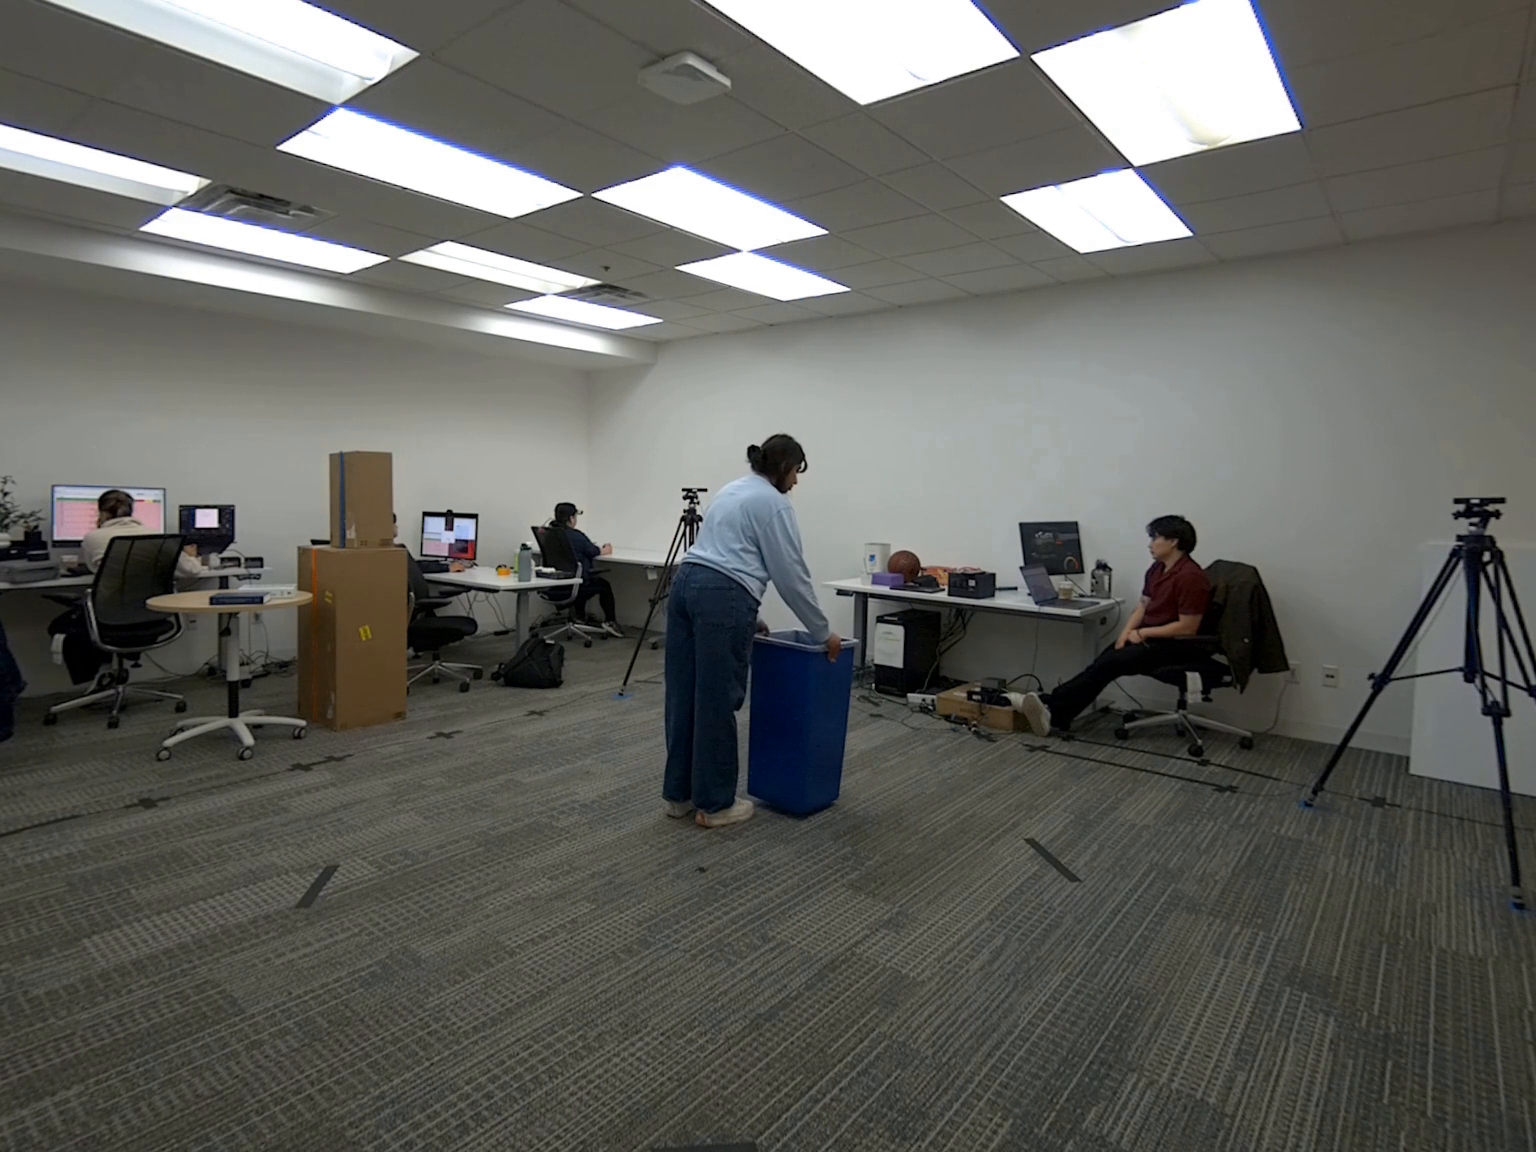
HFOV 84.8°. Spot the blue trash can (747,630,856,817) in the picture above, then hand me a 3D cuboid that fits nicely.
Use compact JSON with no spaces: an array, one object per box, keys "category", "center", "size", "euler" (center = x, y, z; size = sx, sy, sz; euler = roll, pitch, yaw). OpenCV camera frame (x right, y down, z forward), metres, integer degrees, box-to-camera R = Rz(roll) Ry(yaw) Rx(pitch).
[{"category":"blue trash can","center":[0.126,0.626,3.763],"size":[0.387,0.712,0.366],"euler":[7,4,38]}]
